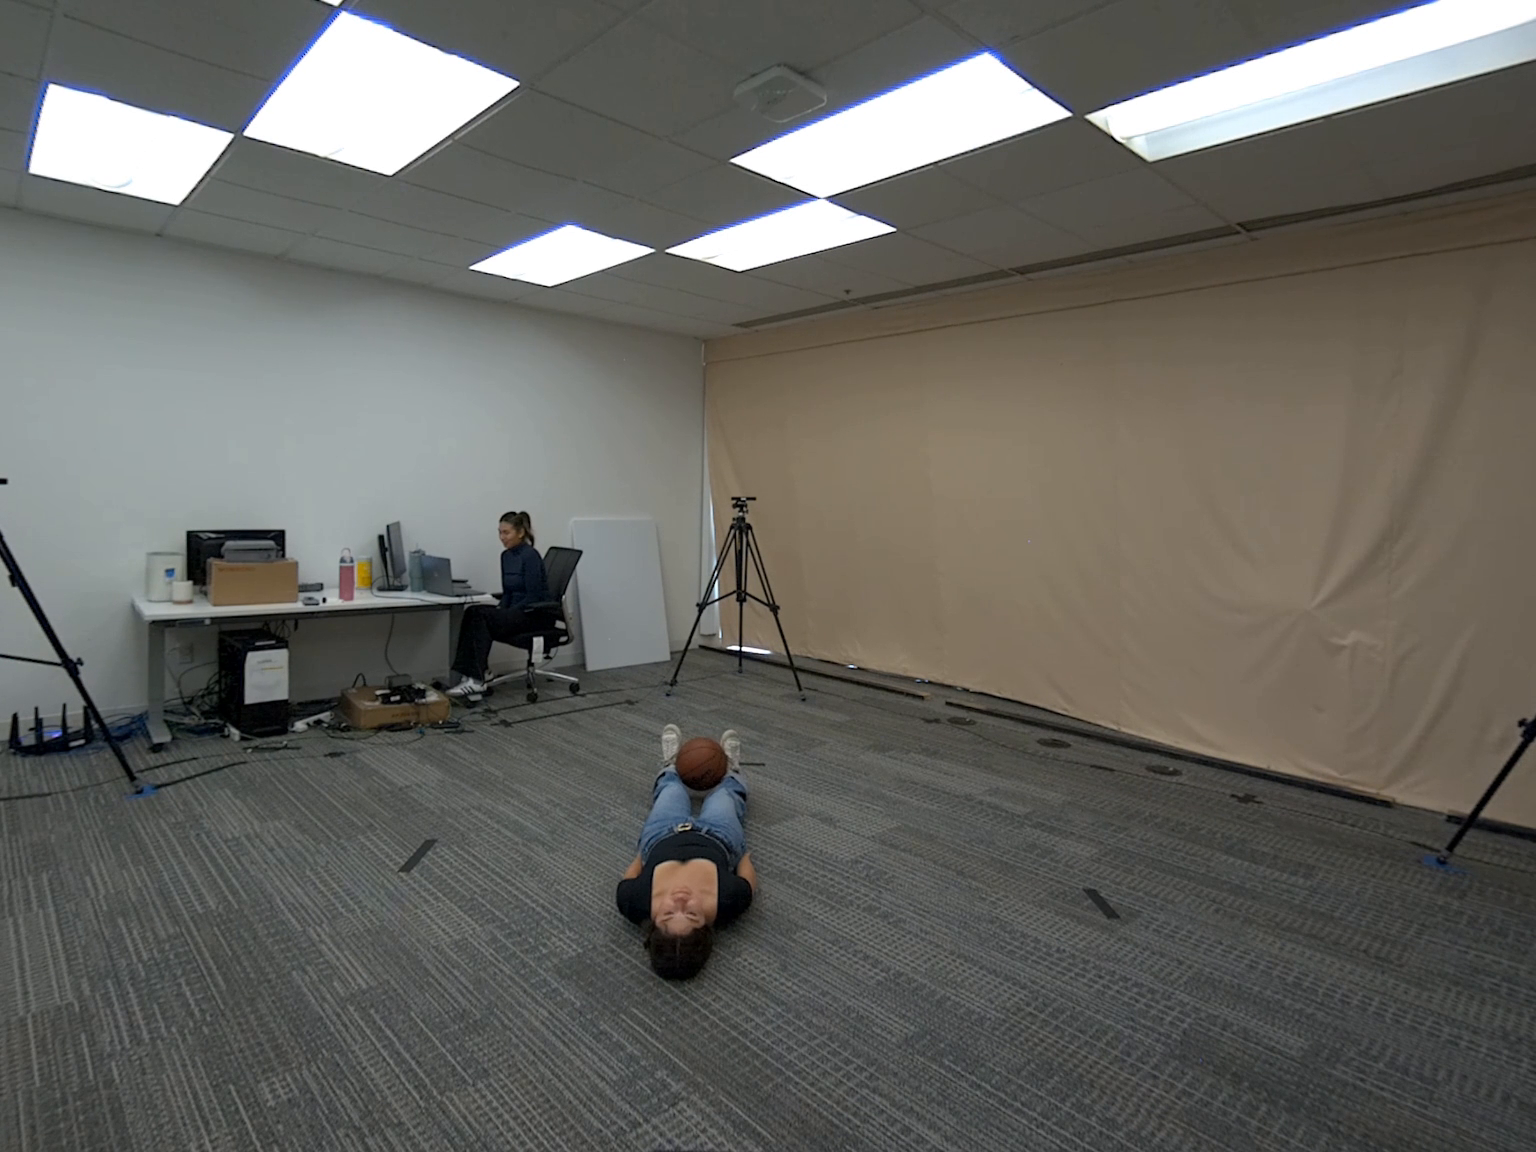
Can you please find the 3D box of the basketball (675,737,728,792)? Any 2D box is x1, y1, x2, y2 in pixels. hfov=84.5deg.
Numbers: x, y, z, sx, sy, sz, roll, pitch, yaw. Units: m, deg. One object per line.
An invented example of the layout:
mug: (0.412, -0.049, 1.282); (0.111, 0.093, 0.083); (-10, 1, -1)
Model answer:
basketball: (-0.315, 0.858, 3.866); (0.236, 0.235, 0.237); (1, 4, -1)
